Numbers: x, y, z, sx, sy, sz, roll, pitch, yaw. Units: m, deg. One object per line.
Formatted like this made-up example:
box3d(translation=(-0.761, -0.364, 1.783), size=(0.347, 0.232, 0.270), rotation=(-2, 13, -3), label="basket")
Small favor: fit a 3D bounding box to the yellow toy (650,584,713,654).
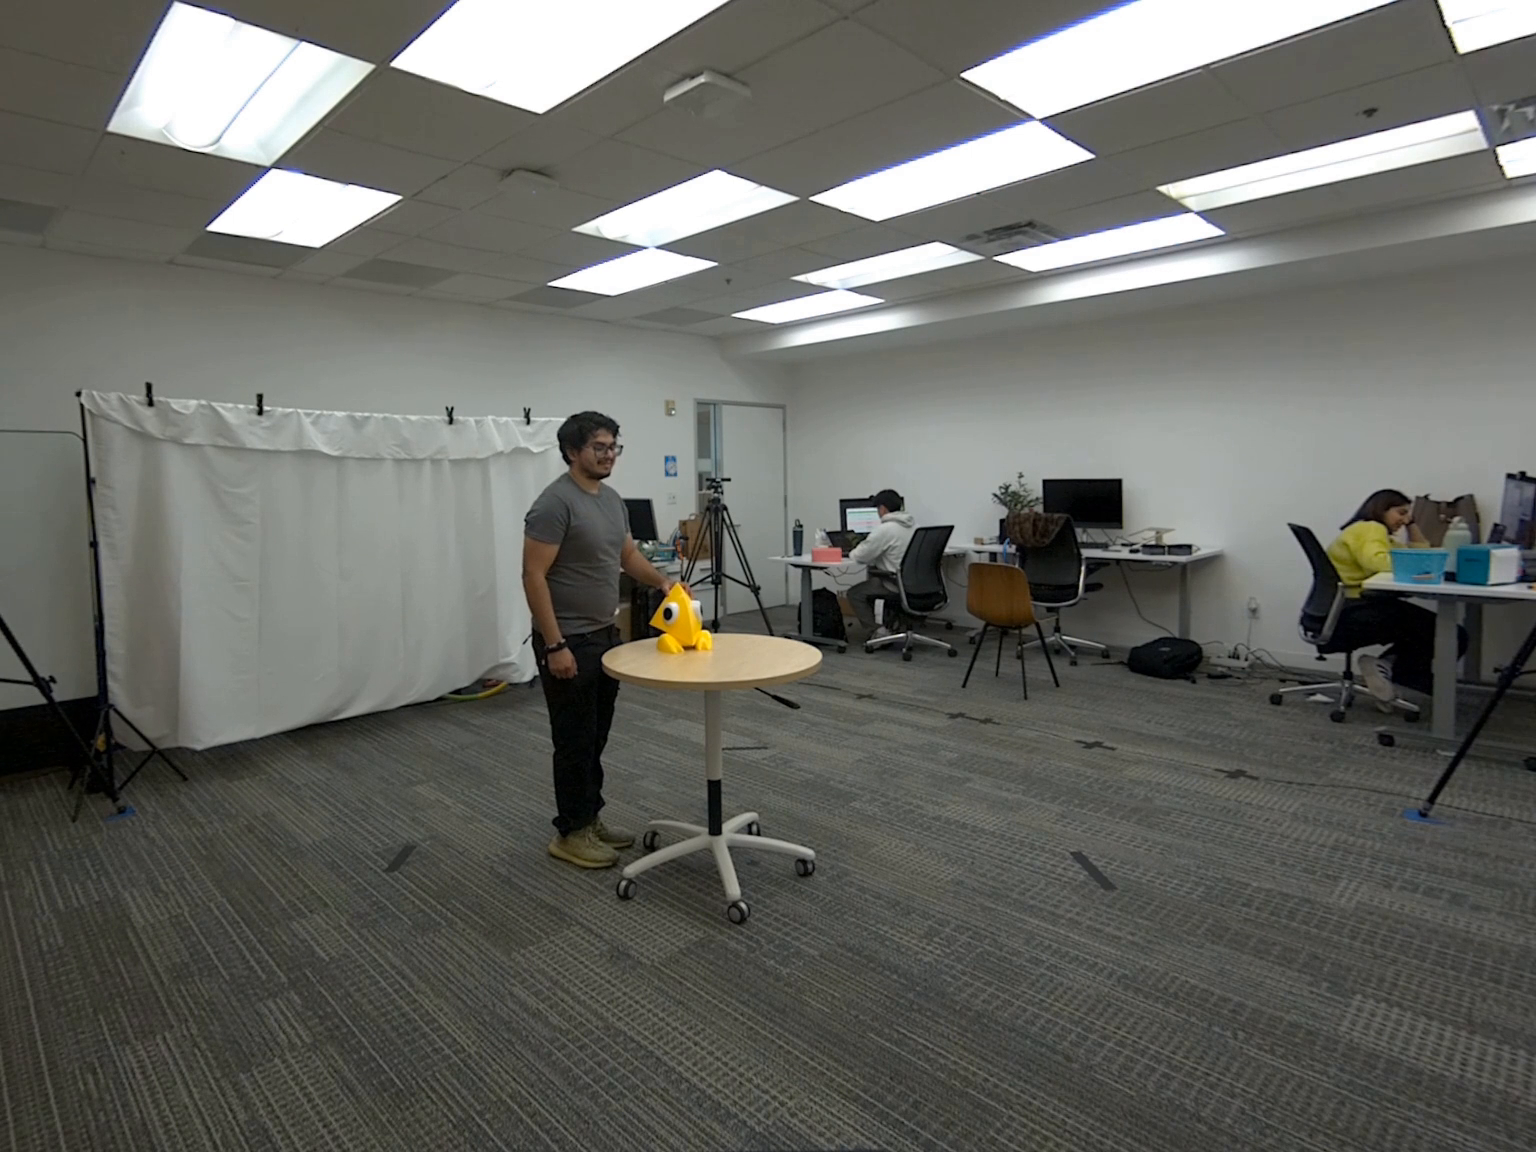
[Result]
box3d(translation=(-0.307, 0.145, 3.109), size=(0.201, 0.230, 0.198), rotation=(-2, 4, -24), label="yellow toy")
